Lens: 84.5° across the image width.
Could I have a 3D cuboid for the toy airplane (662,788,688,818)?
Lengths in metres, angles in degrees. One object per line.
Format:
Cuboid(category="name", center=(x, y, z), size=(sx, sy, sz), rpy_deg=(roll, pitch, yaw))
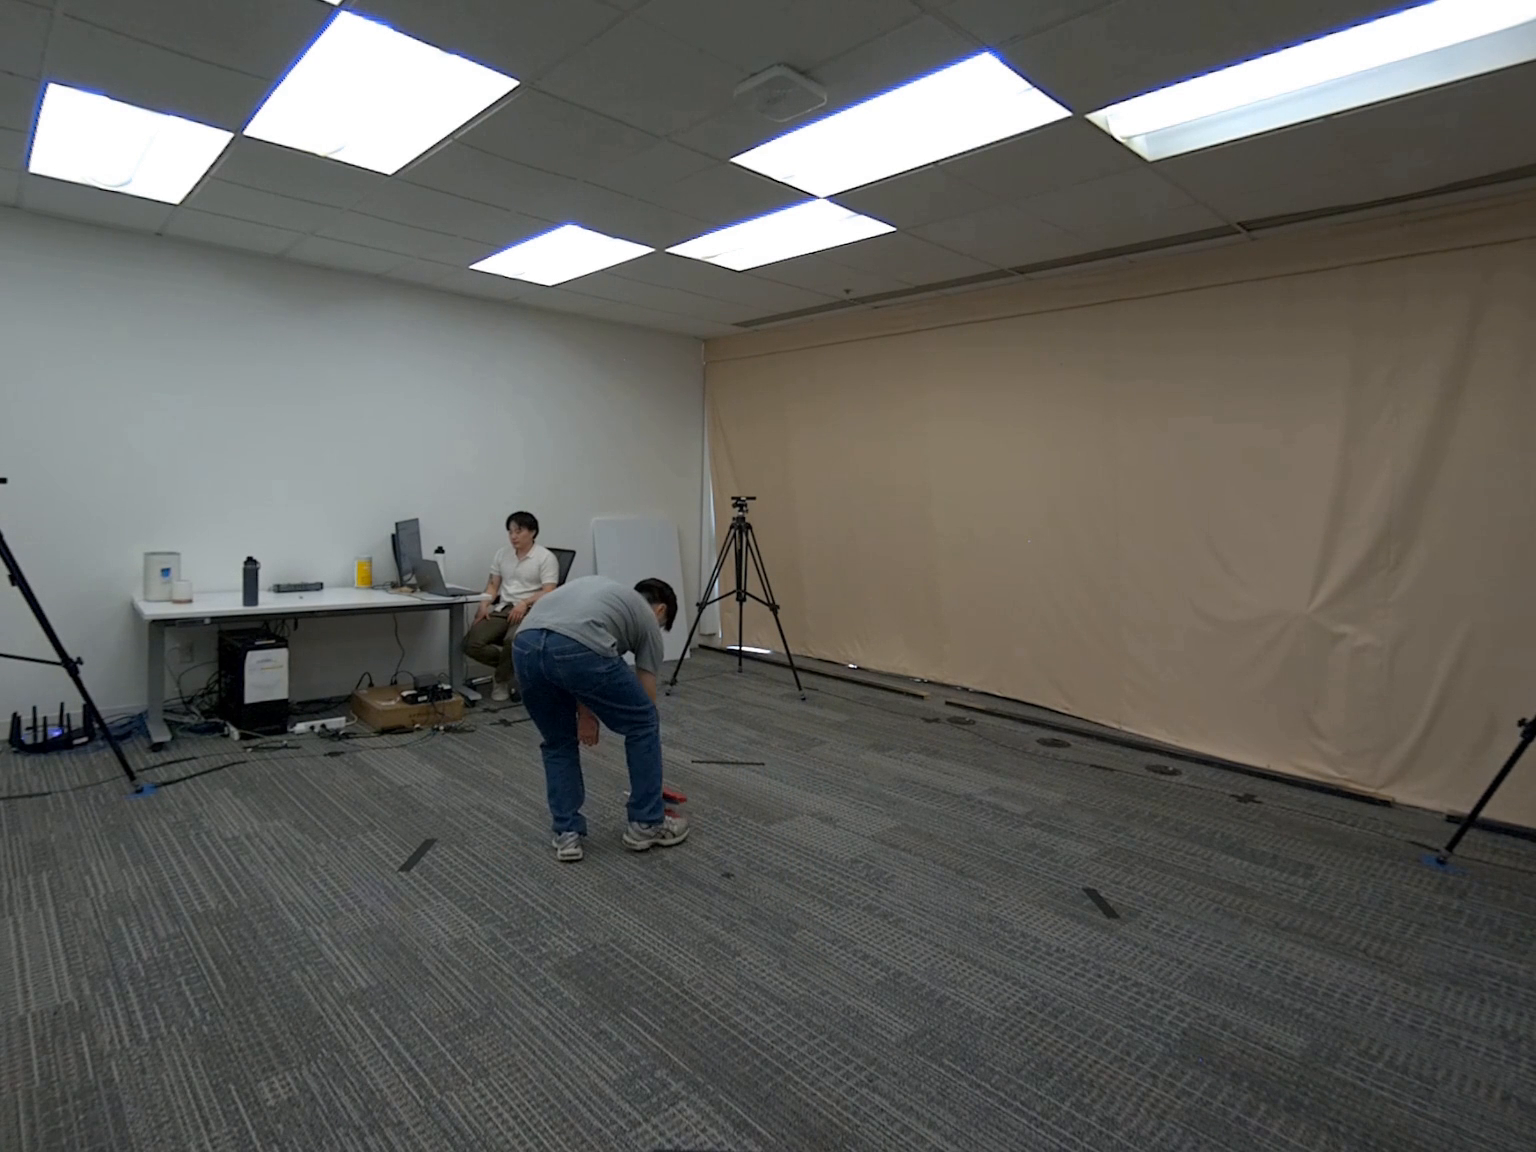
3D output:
Cuboid(category="toy airplane", center=(-0.468, 0.955, 3.514), size=(0.256, 0.157, 0.253), rpy_deg=(19, -21, 19))
